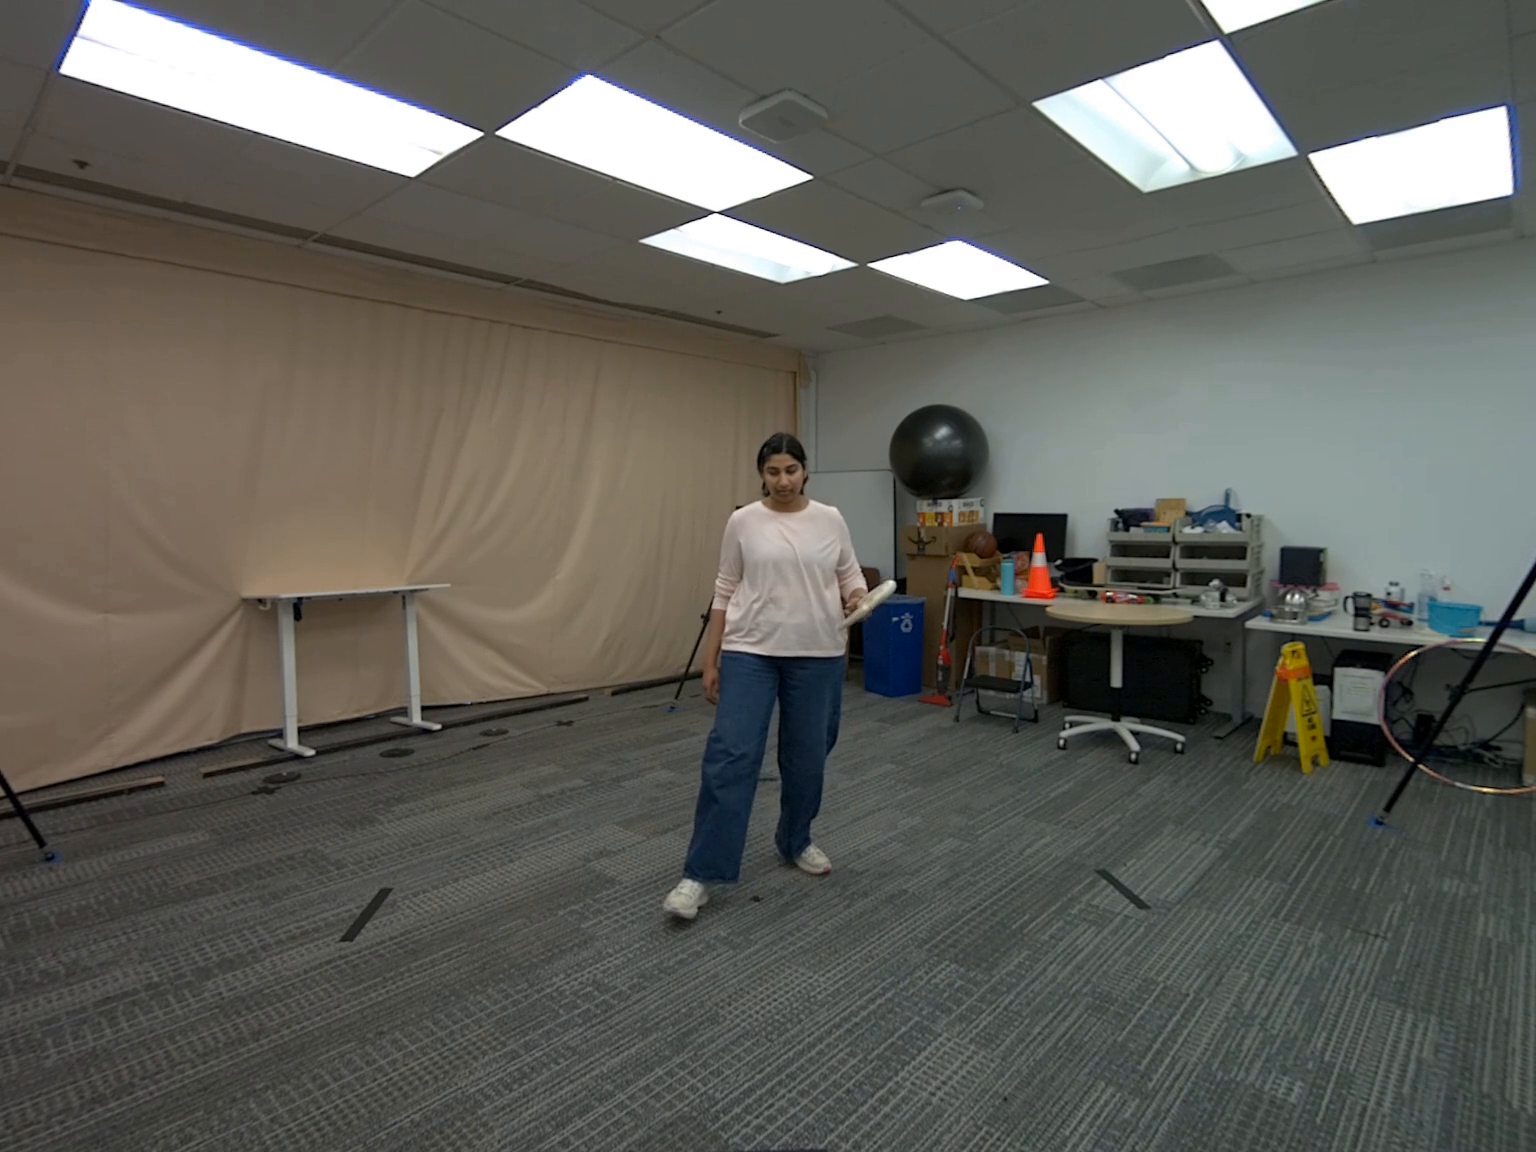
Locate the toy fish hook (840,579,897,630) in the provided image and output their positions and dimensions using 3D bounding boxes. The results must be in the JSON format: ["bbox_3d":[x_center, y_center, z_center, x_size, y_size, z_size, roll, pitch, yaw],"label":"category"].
[{"bbox_3d":[0.274,0.121,2.729,0.223,0.049,0.505,-36,-5,-10],"label":"toy fish hook"}]
